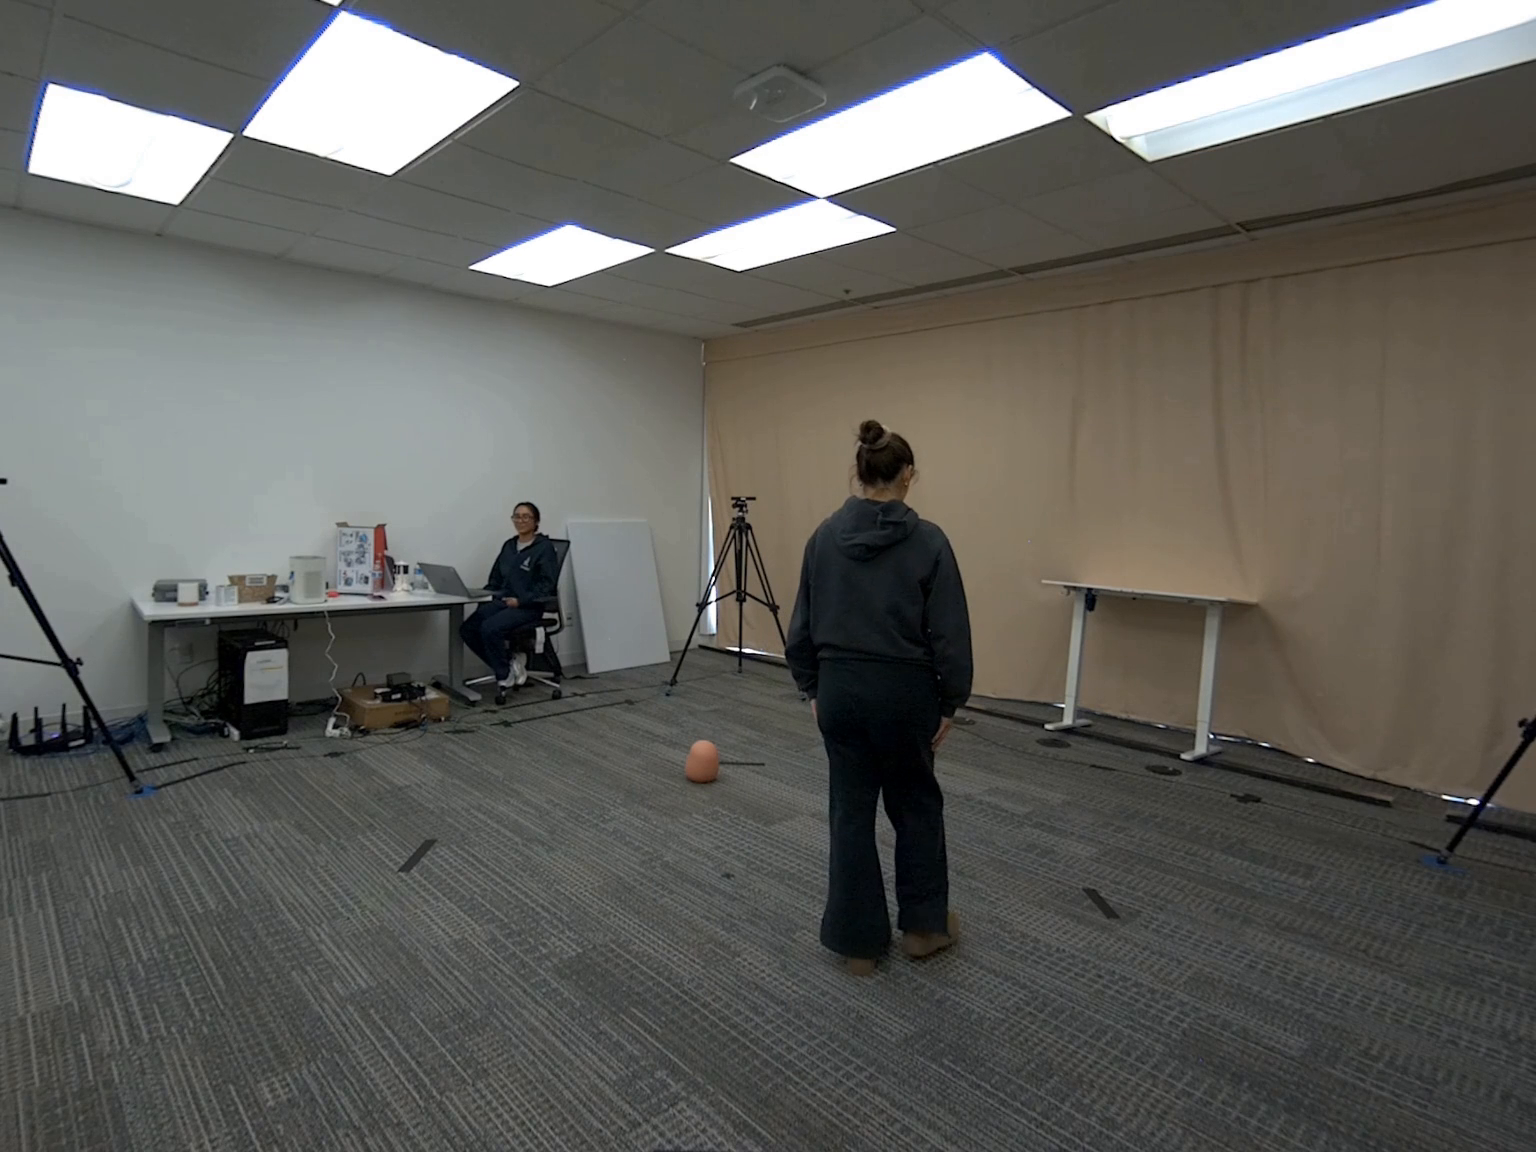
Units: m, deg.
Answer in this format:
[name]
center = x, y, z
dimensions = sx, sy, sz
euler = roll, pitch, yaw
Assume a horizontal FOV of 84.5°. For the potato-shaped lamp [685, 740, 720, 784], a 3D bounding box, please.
[potato-shaped lamp]
center = -0.346, 0.906, 4.176
dimensions = 0.161, 0.197, 0.176
euler = 0, 7, -35
